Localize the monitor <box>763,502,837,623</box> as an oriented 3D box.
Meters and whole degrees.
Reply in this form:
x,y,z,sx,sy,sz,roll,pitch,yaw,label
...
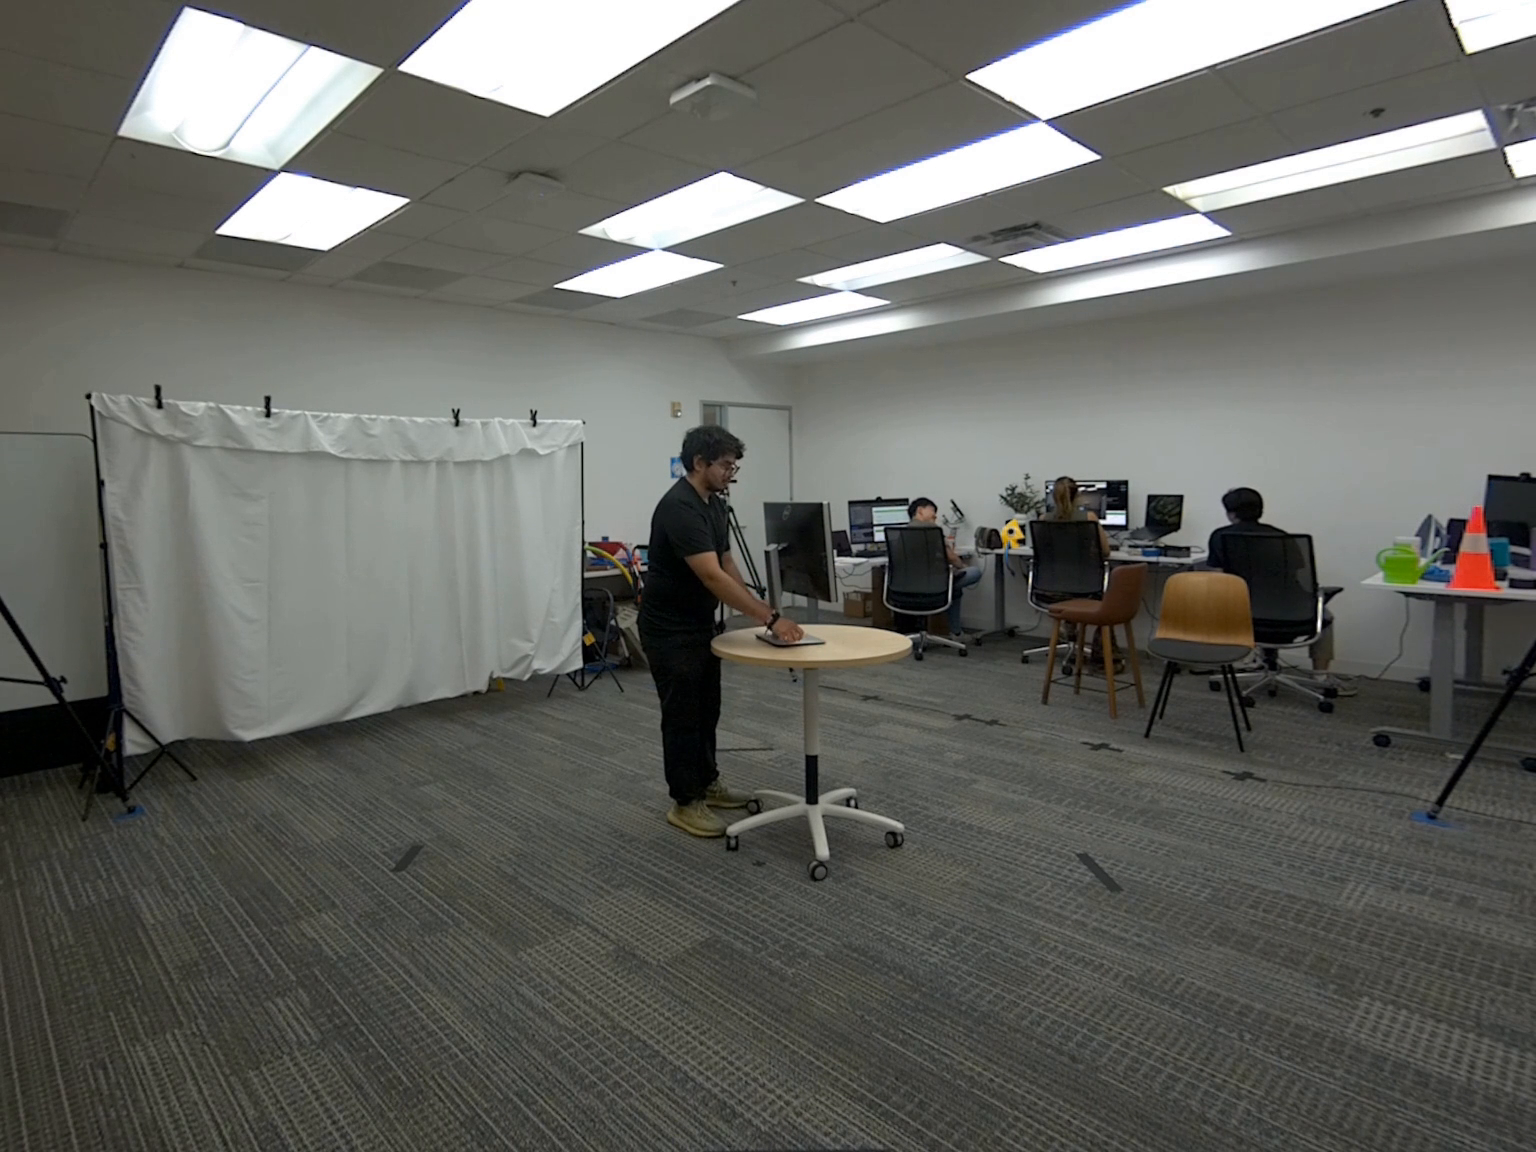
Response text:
x,y,z,sx,sy,sz,roll,pitch,yaw,label
0.057,-0.015,3.271,0.206,0.552,0.578,-4,5,-21,monitor
